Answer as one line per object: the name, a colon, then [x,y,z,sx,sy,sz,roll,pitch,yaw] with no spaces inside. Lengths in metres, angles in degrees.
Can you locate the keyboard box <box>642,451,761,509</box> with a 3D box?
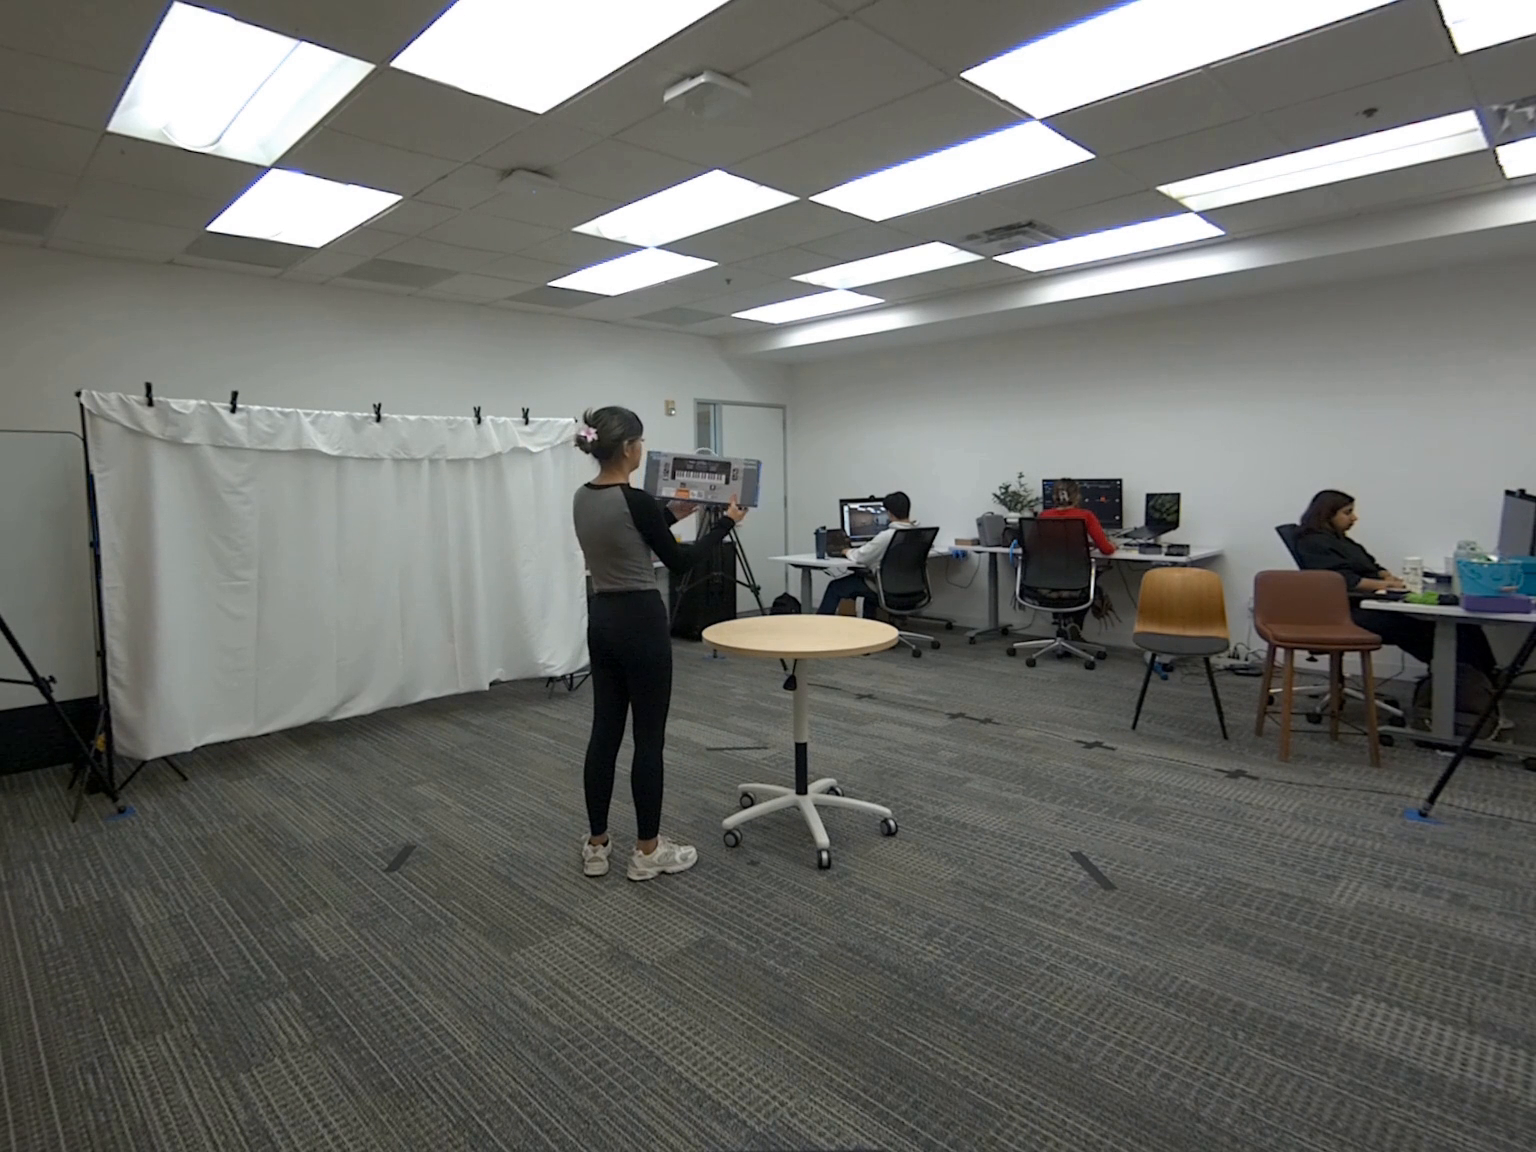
keyboard box: [-0.246,-0.361,3.210,0.442,0.176,0.058,7,-1,12]
